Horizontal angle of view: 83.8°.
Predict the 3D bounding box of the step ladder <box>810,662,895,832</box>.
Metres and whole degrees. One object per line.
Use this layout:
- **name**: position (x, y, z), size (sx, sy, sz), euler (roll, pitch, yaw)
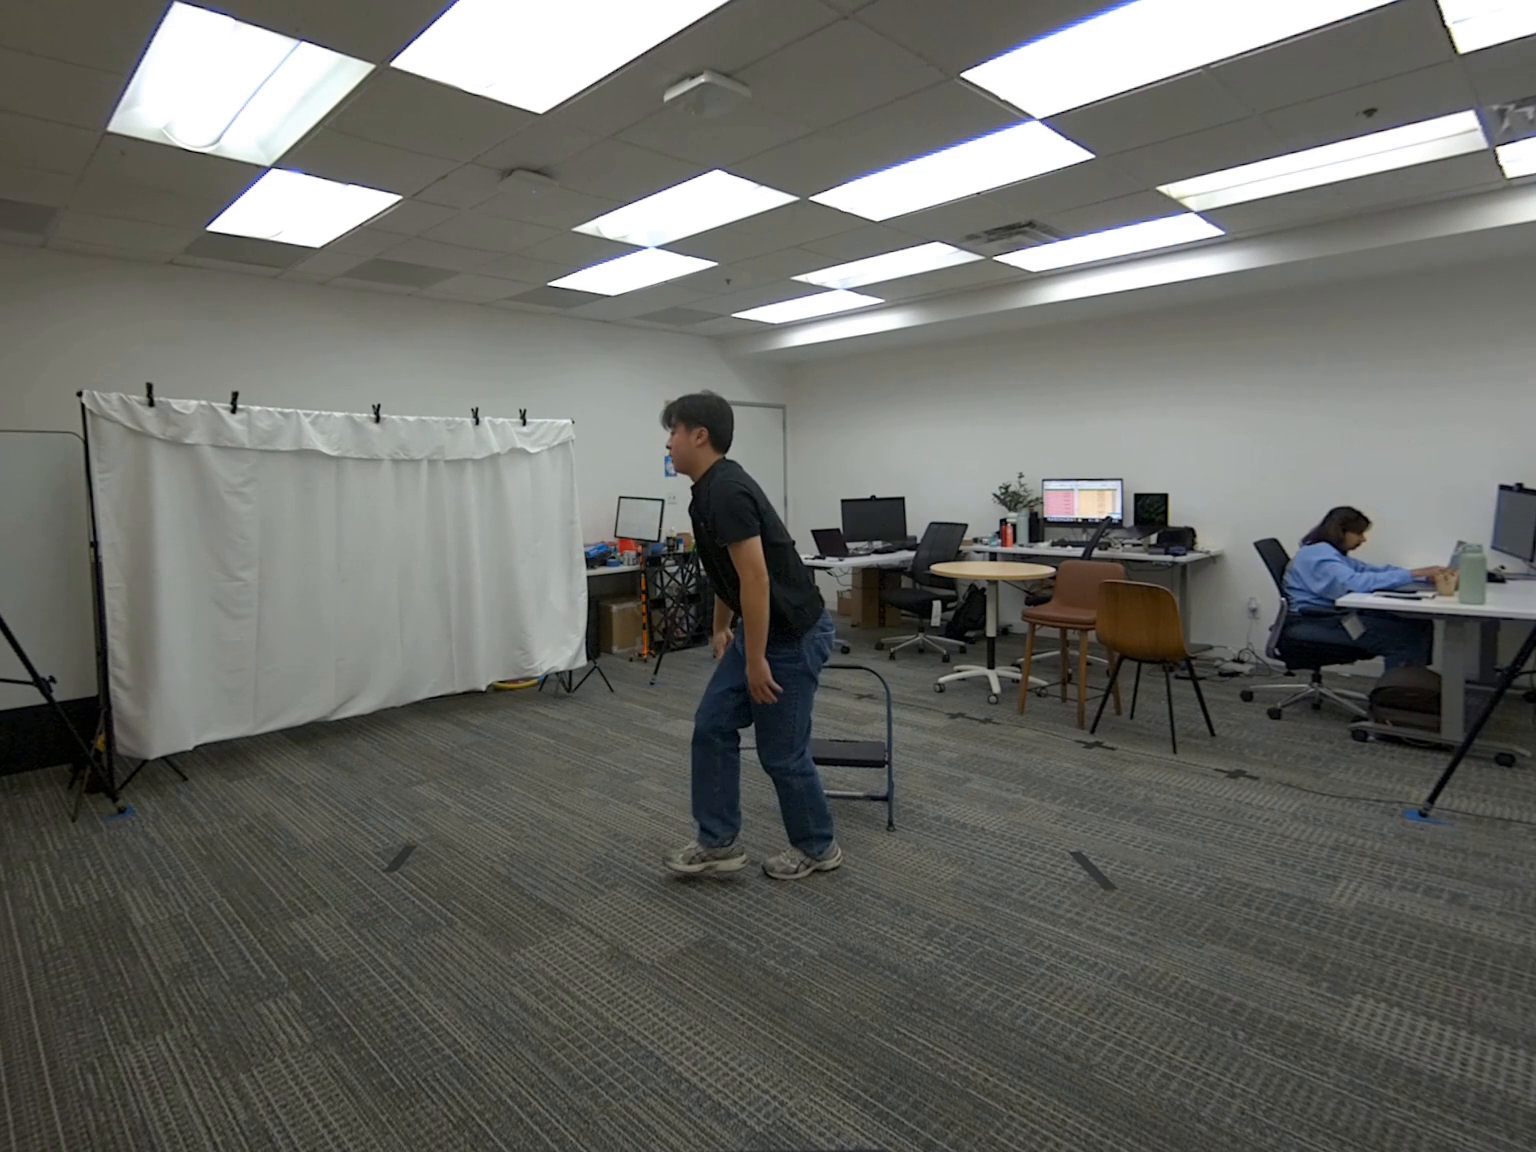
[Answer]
- **step ladder**: position (0.314, 0.684, 3.553), size (0.435, 0.604, 0.347), euler (0, 4, 9)
